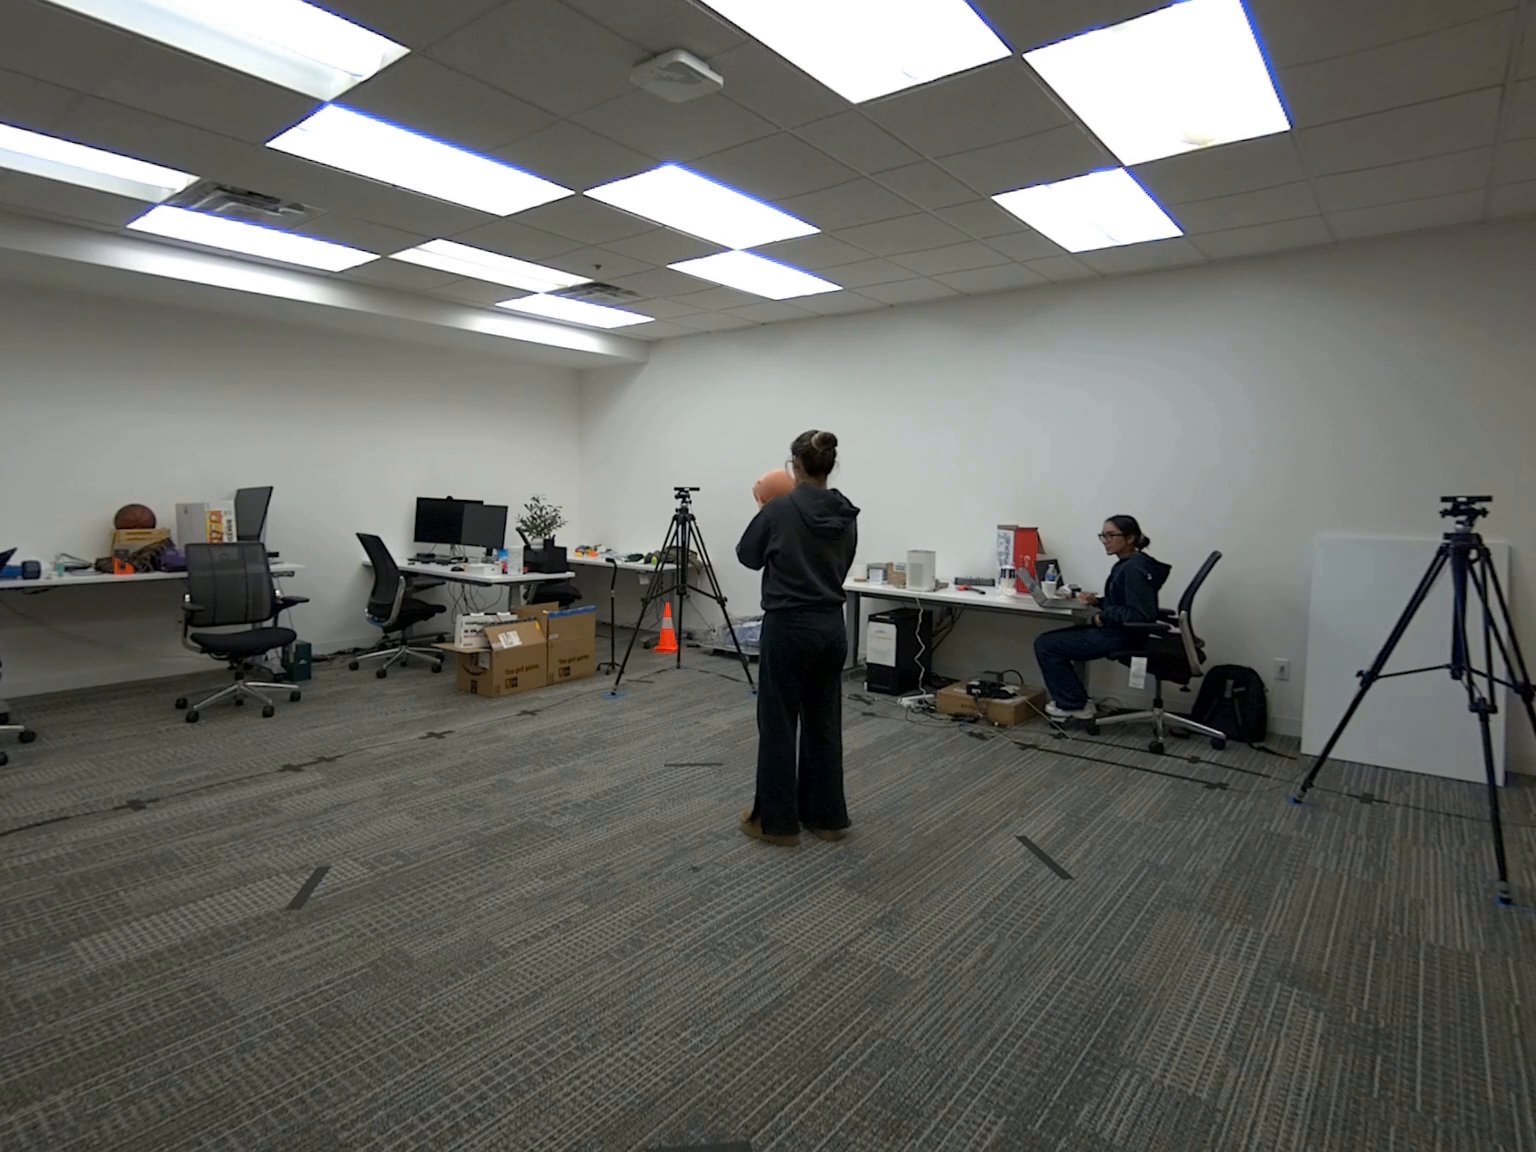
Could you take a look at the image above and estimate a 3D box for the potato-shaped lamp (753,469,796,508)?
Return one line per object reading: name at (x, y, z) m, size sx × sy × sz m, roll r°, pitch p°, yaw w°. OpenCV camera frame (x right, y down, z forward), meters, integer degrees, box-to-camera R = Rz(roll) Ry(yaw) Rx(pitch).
potato-shaped lamp at (0.028, -0.389, 3.670) m, size 0.162 × 0.176 × 0.196 m, roll -16°, pitch -21°, yaw -21°
